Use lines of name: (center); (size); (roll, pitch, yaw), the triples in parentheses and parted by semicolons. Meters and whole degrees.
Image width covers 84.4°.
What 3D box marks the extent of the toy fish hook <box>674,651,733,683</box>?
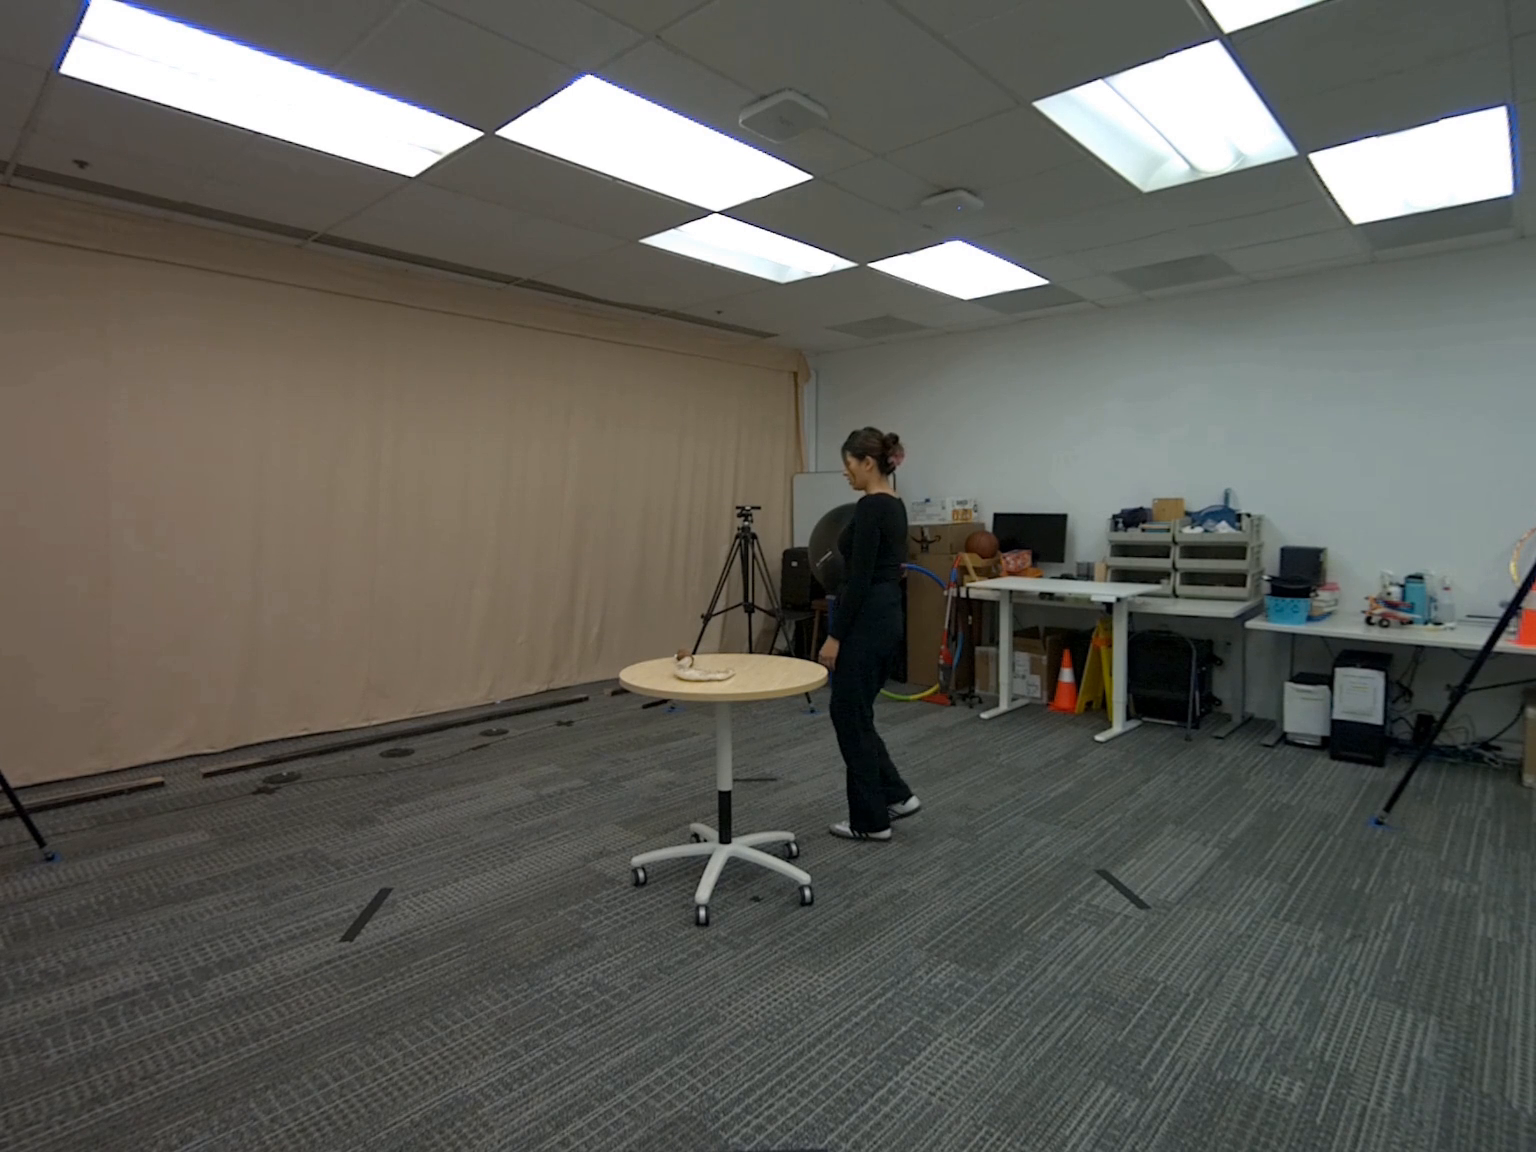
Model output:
toy fish hook: (-0.247, 0.341, 3.161); (0.222, 0.048, 0.512); (7, 4, -10)
